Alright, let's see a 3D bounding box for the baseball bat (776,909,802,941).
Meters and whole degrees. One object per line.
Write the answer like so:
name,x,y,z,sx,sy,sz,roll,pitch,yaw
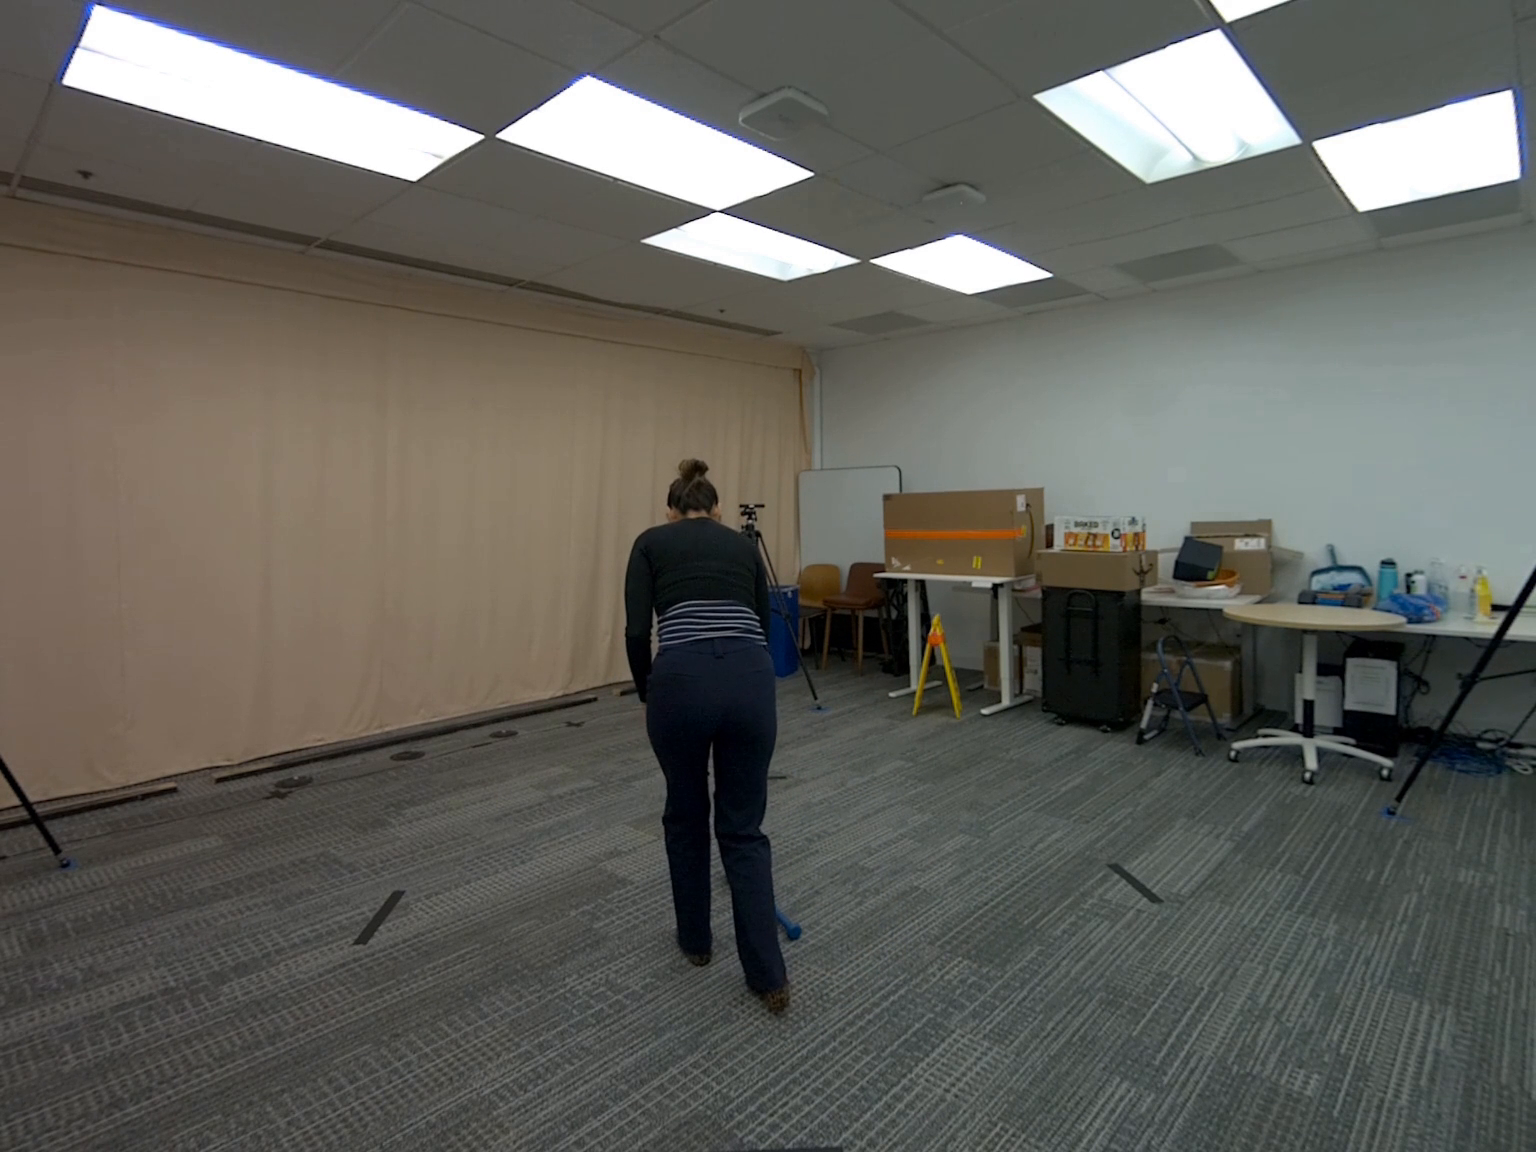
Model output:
baseball bat,-0.023,1.111,2.930,0.087,0.088,0.558,-3,9,-24
